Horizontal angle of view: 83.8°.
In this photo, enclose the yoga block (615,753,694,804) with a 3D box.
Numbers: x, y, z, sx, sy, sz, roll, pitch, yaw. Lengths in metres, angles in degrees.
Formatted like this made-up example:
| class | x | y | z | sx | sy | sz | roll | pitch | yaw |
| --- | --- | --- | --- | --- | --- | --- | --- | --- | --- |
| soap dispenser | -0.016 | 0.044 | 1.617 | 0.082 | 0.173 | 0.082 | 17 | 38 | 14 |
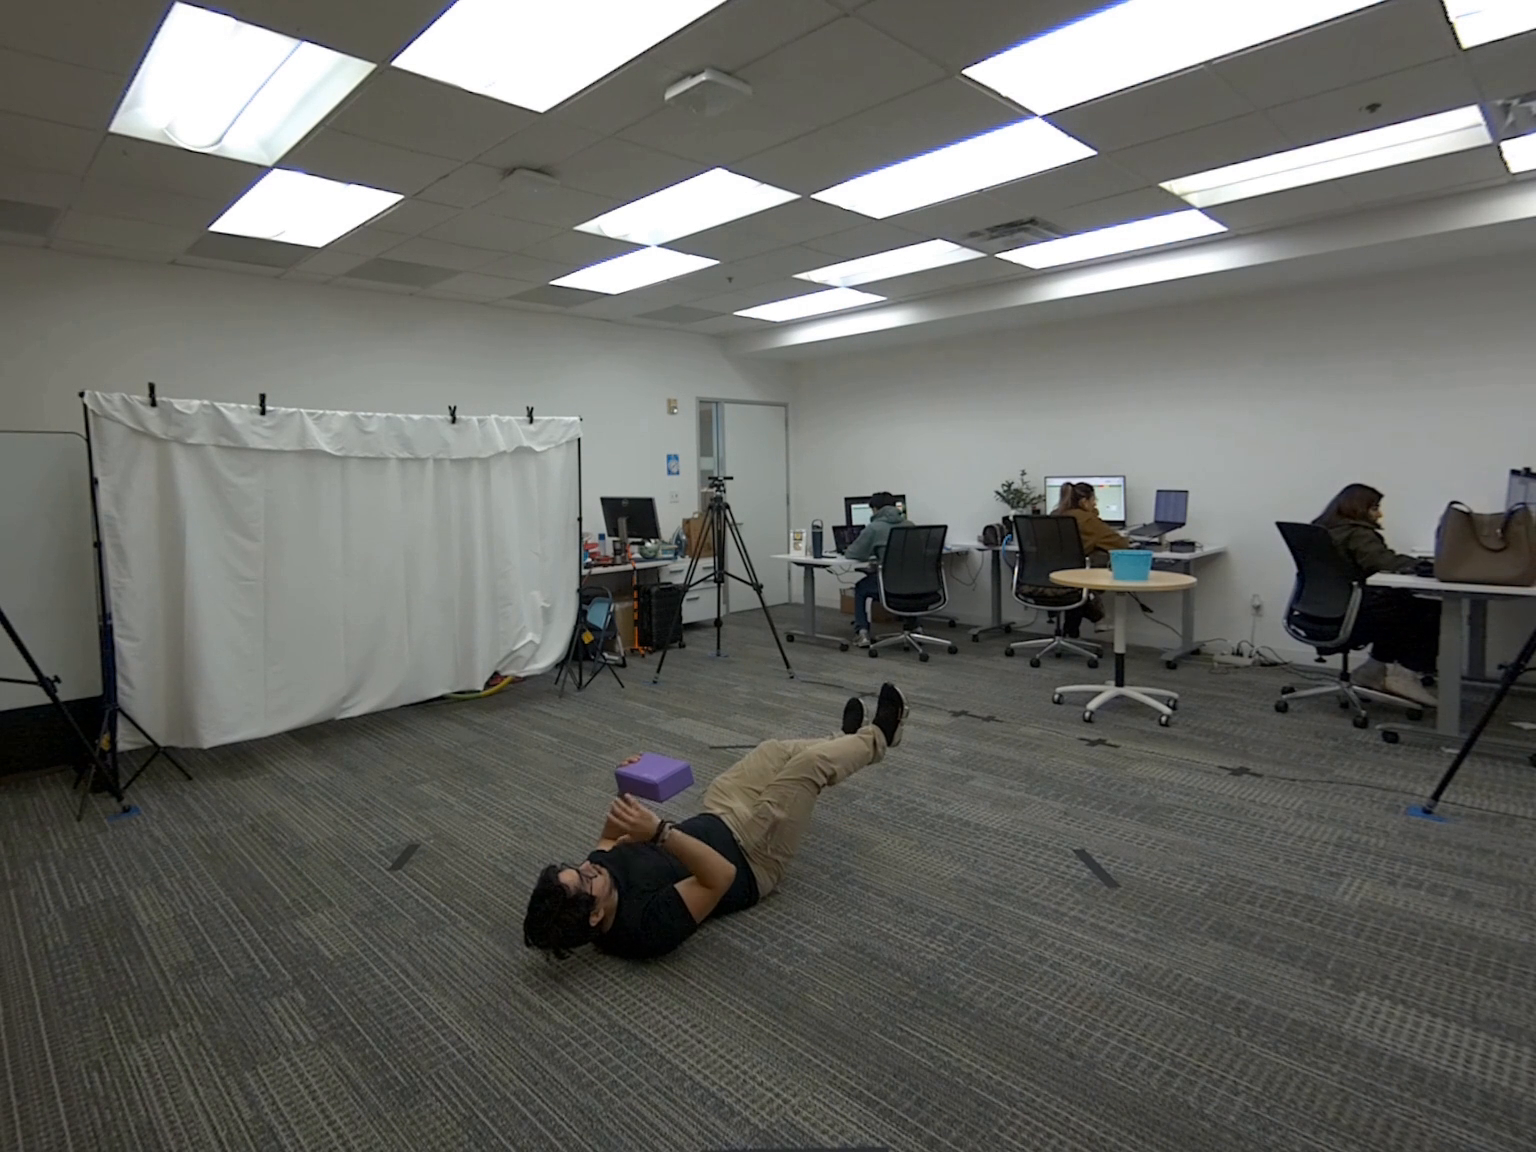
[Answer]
| class | x | y | z | sx | sy | sz | roll | pitch | yaw |
| --- | --- | --- | --- | --- | --- | --- | --- | --- | --- |
| yoga block | -0.361 | 0.643 | 2.689 | 0.146 | 0.076 | 0.235 | -21 | 12 | -39 |
